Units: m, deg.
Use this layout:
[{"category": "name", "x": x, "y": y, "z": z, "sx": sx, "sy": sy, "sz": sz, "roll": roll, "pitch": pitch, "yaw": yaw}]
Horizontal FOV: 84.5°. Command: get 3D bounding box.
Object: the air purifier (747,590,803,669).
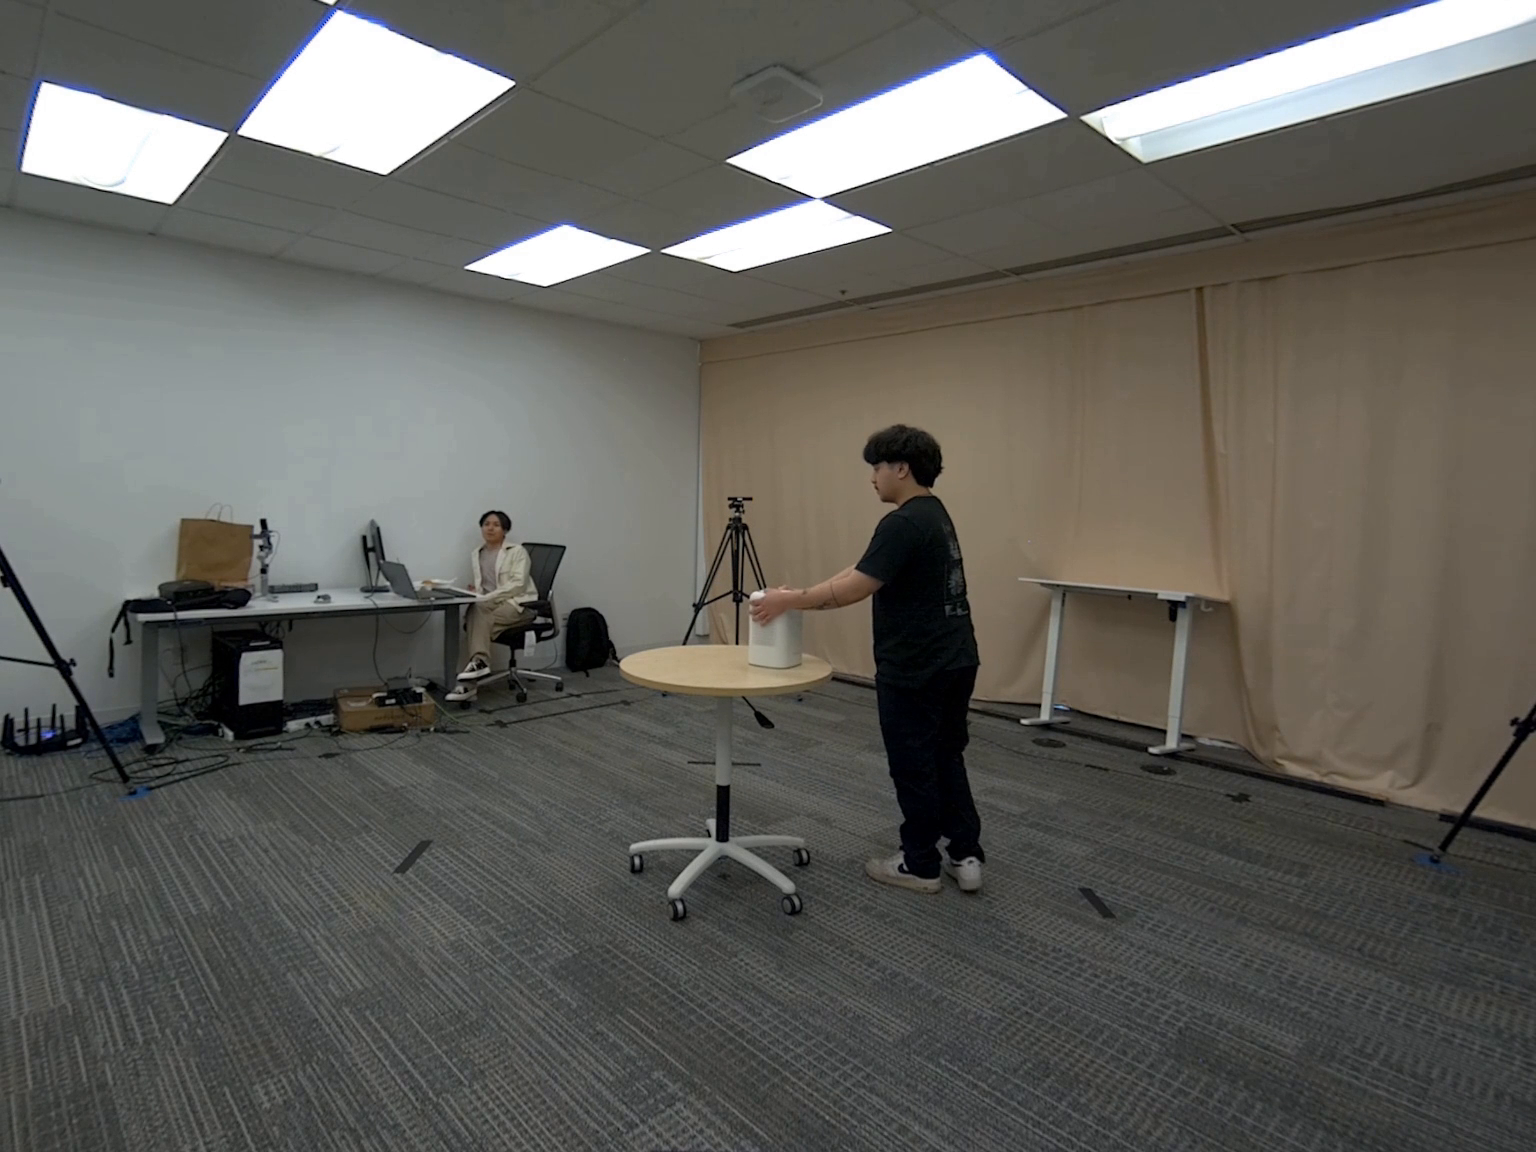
[{"category": "air purifier", "x": 0.025, "y": 0.189, "z": 3.073, "sx": 0.175, "sy": 0.265, "sz": 0.167, "roll": 3, "pitch": 3, "yaw": 30}]
